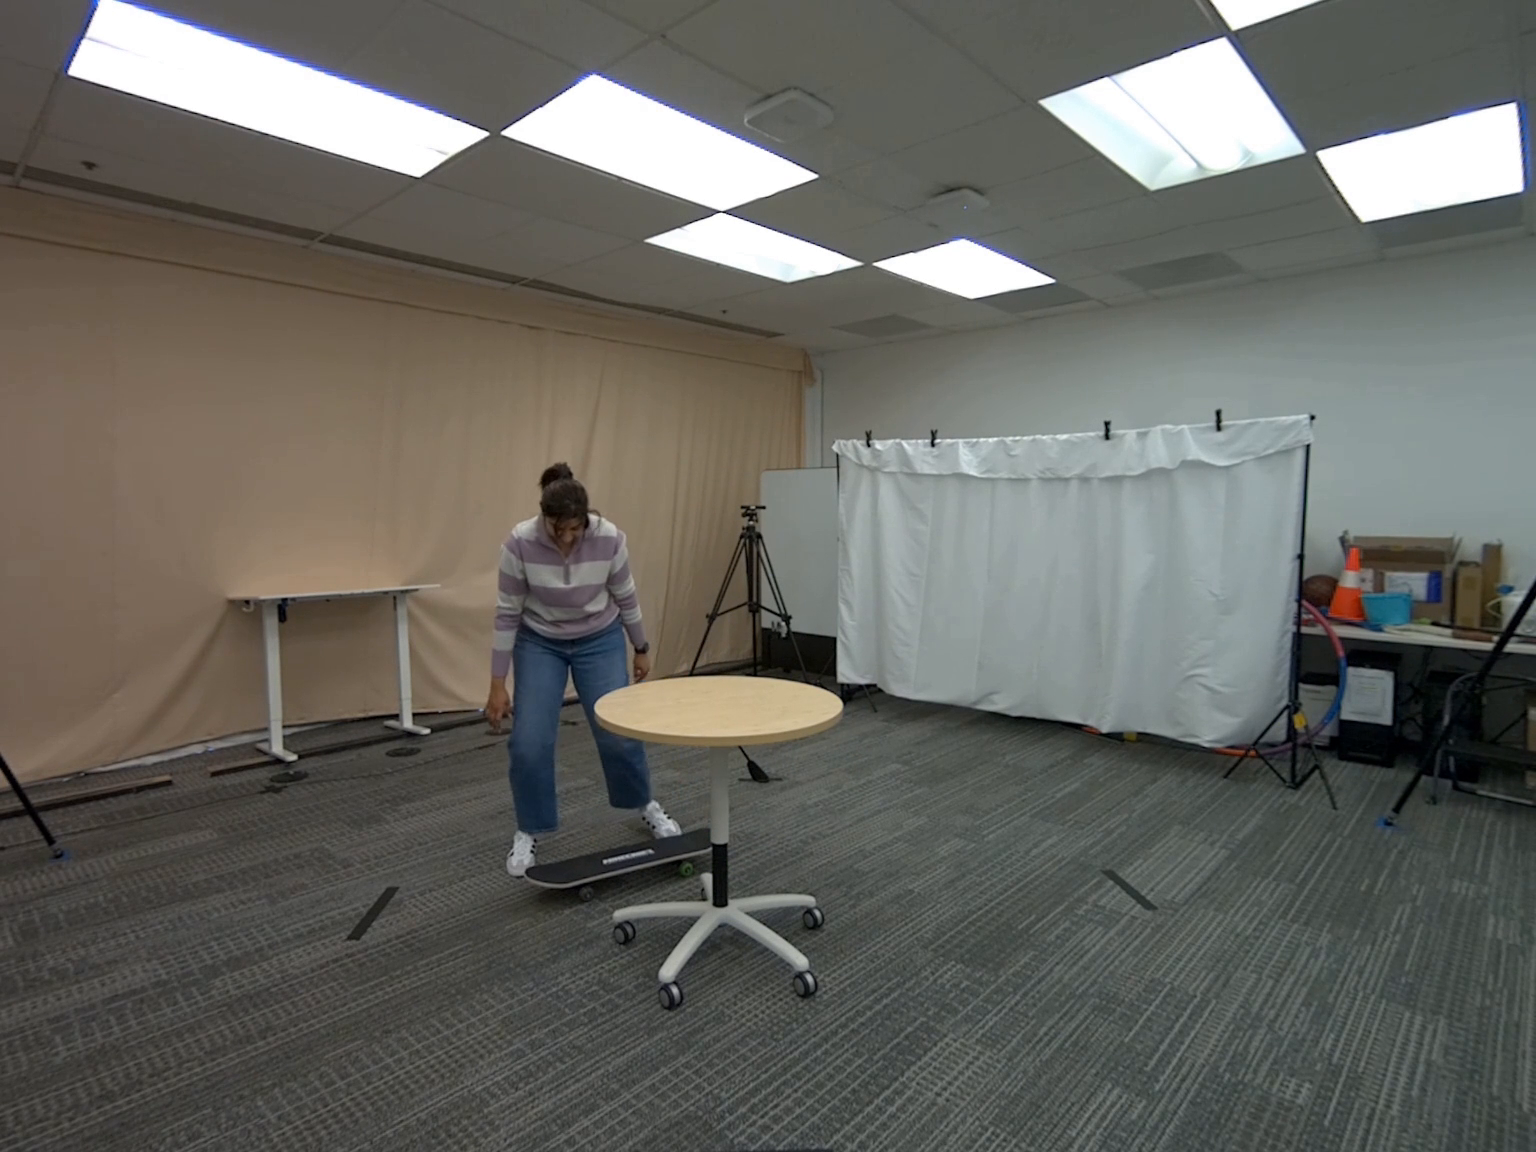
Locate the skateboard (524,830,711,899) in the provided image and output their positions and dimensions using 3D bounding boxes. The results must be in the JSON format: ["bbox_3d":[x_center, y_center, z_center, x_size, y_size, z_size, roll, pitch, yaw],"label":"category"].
[{"bbox_3d":[-0.523,1.081,3.135,0.765,0.110,0.199,-3,5,-30],"label":"skateboard"}]
